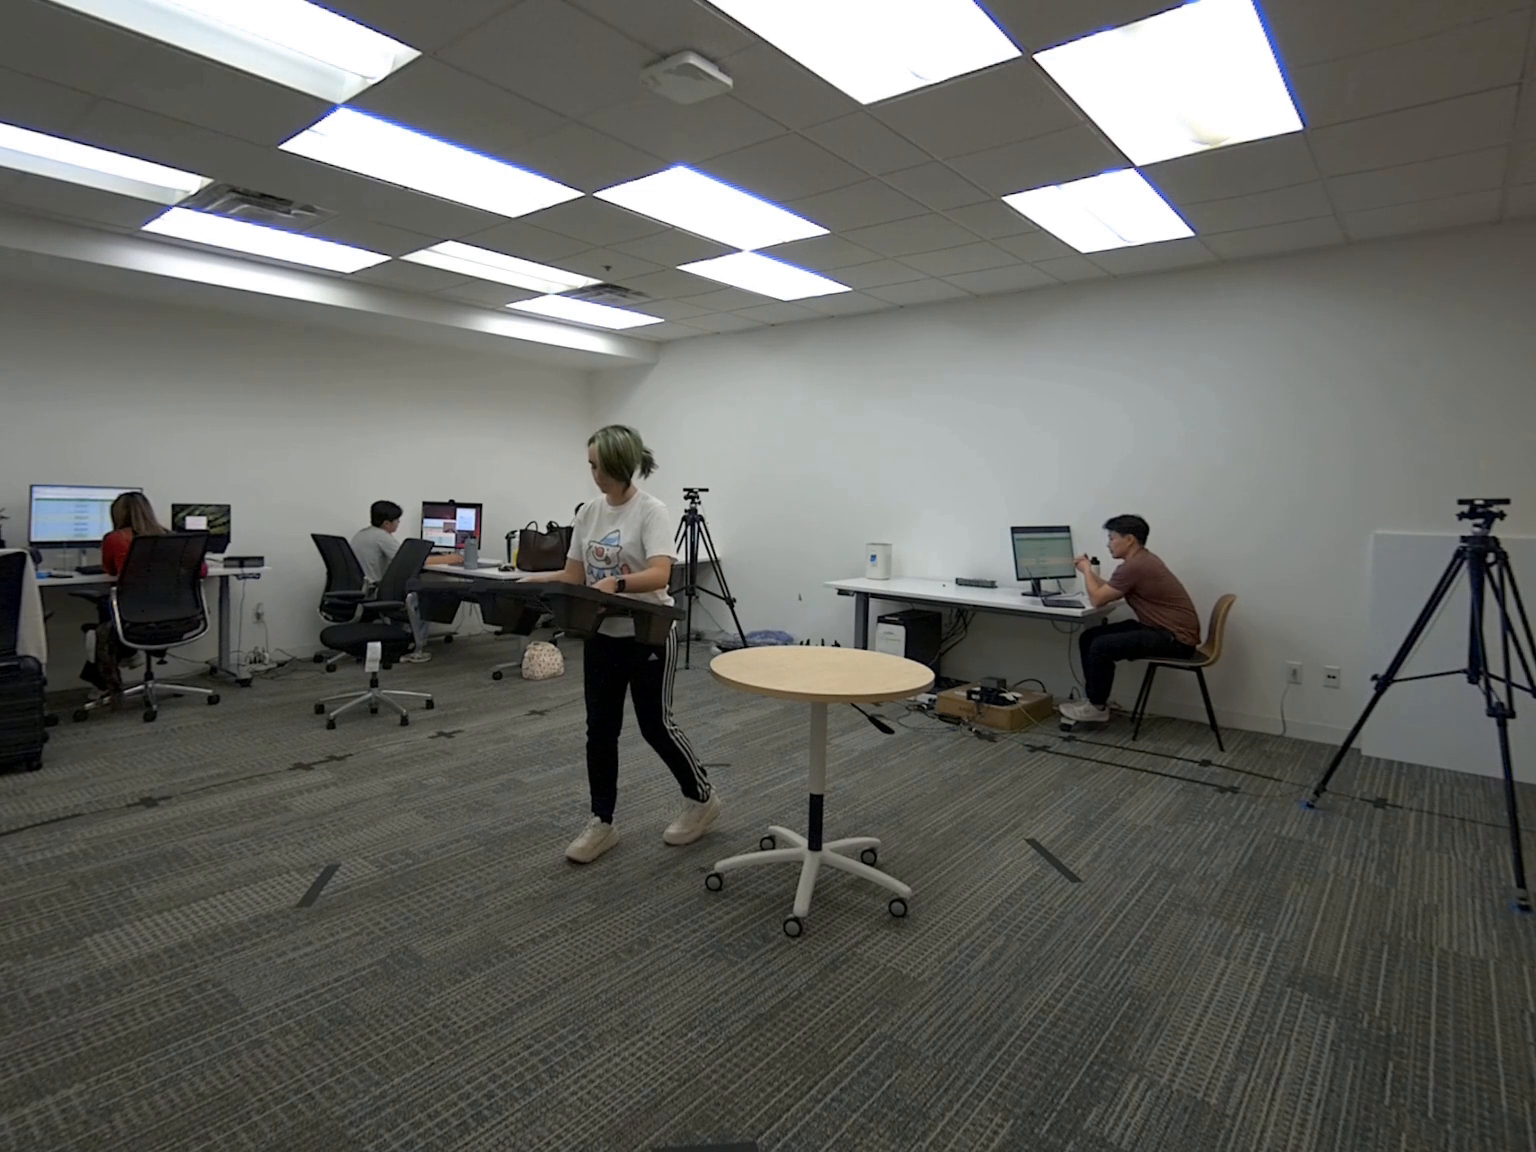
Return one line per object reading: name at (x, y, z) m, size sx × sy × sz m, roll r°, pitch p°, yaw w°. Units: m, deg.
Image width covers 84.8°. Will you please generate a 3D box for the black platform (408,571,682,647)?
black platform at (-0.784, 0.130, 2.941) m, size 0.829 × 0.144 × 0.583 m, roll 0°, pitch -10°, yaw 34°
